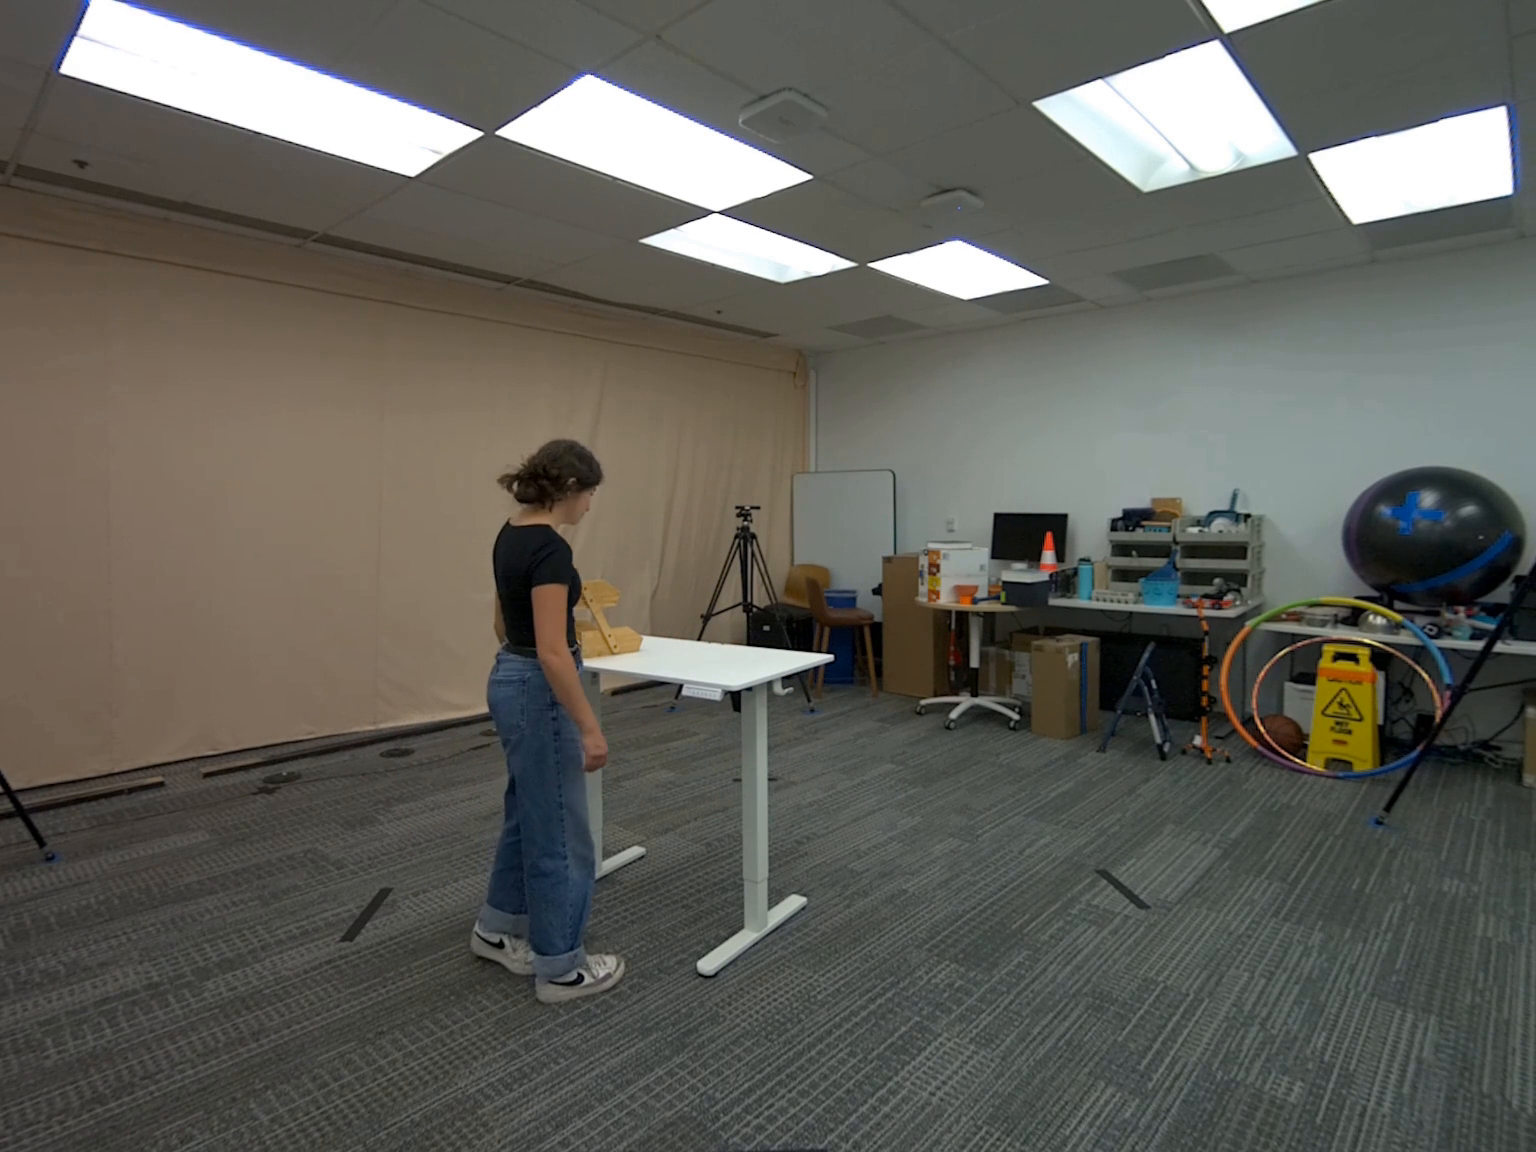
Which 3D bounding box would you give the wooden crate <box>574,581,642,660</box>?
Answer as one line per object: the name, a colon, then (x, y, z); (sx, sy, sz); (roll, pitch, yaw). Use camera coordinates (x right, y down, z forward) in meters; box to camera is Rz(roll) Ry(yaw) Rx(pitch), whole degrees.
wooden crate: (-0.652, 0.135, 3.005); (0.293, 0.273, 0.335); (-5, 5, -40)
